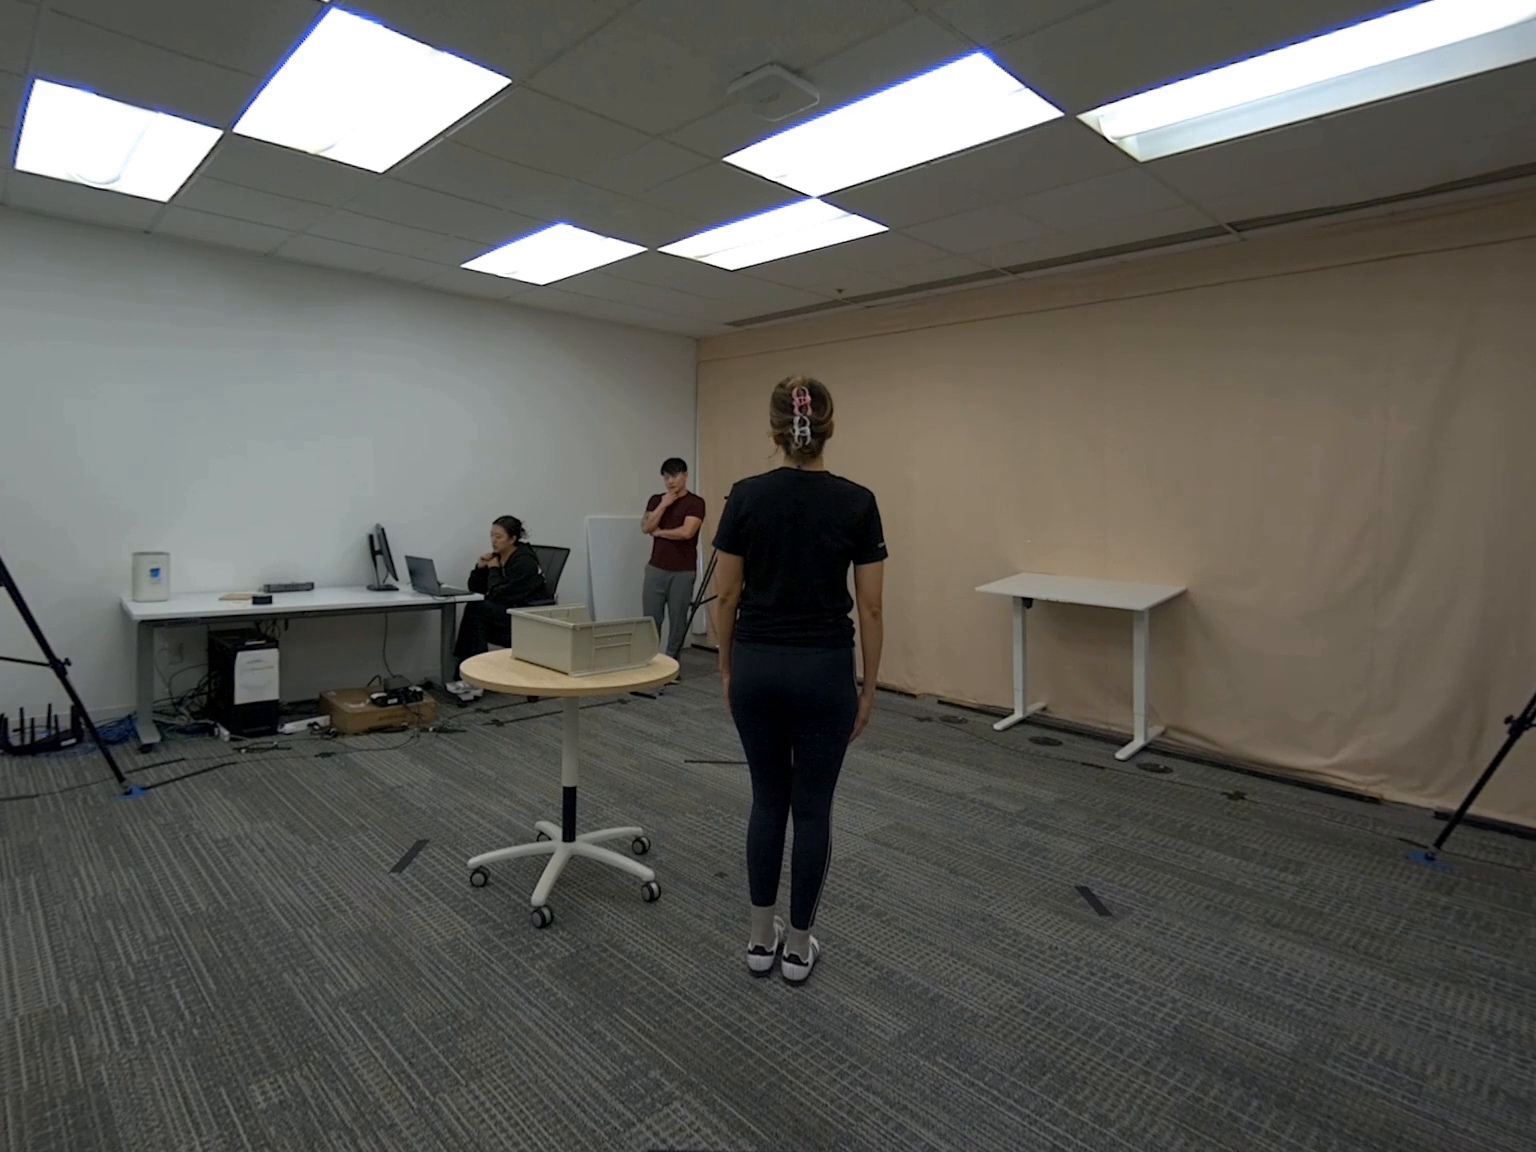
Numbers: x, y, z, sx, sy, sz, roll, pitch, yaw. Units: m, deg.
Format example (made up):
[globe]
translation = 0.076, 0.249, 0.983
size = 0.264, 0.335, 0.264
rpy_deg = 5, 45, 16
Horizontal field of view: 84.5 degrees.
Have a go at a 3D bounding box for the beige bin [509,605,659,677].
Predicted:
[beige bin]
translation = -0.674, 0.225, 3.043
size = 0.433, 0.188, 0.369
rpy_deg = 7, 9, 44
